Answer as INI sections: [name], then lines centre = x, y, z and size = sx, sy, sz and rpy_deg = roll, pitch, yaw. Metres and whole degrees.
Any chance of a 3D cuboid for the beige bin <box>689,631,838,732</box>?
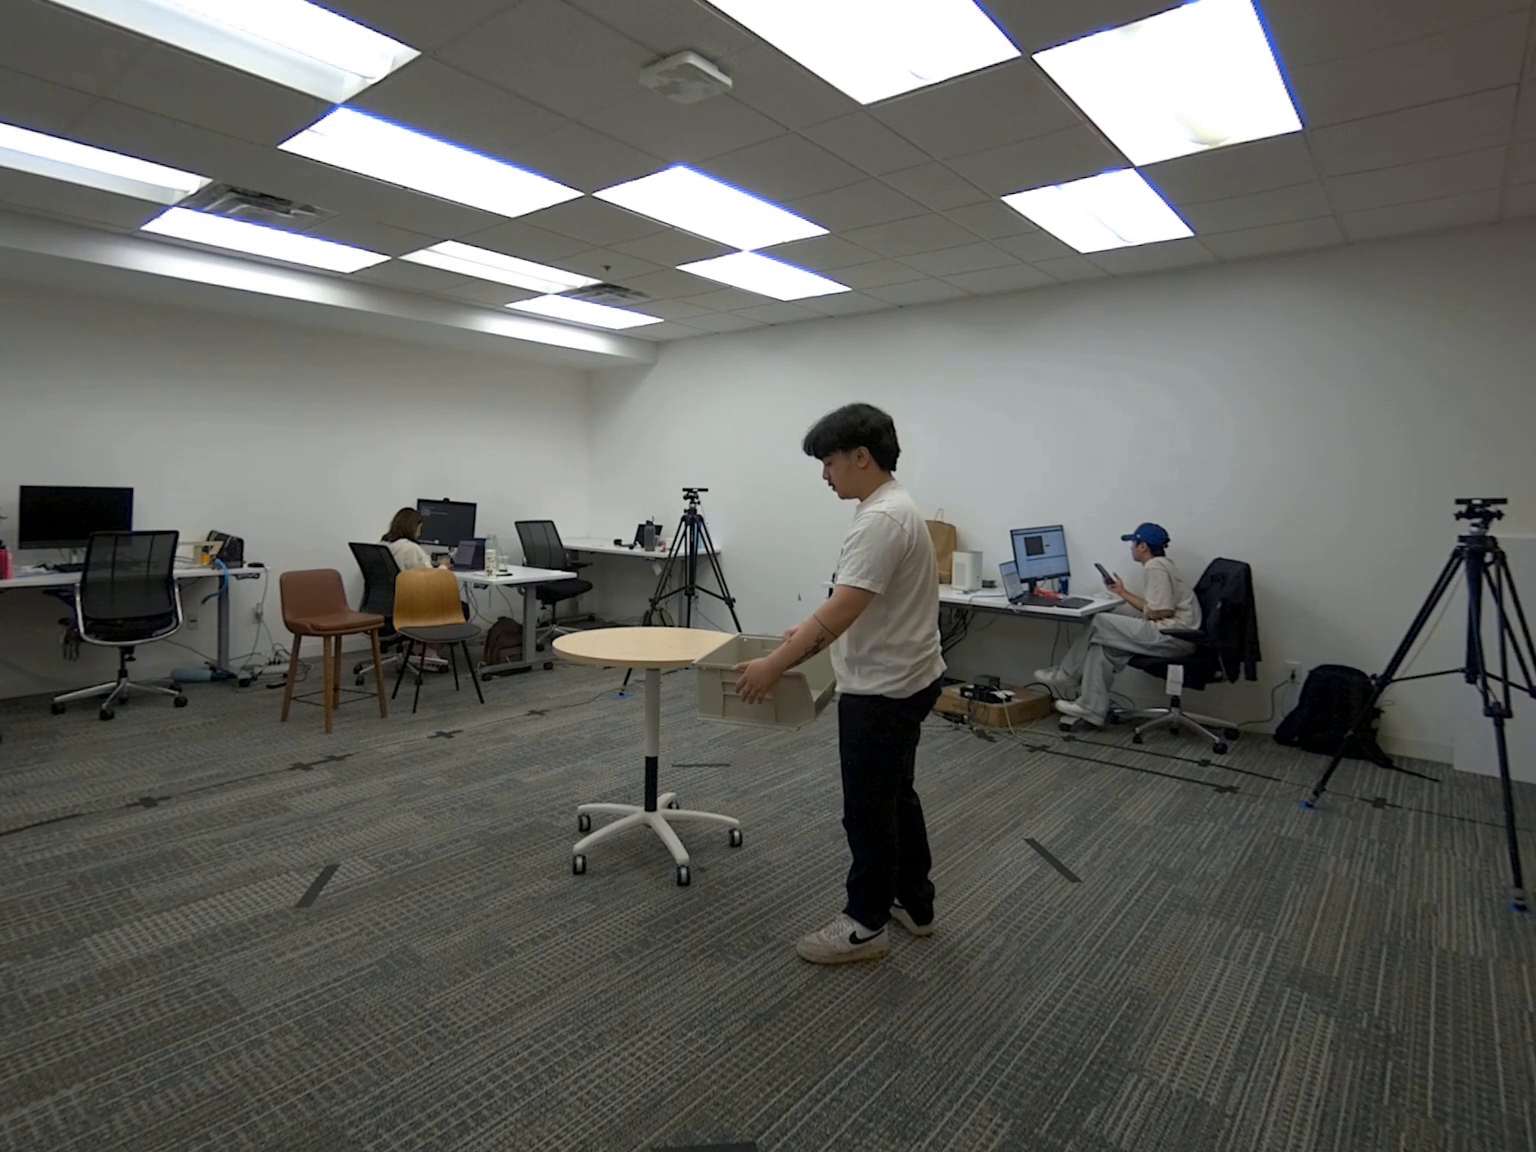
[beige bin]
centre = 0.009, 0.319, 2.678
size = 0.385, 0.188, 0.416
rpy_deg = 0, 8, 20
